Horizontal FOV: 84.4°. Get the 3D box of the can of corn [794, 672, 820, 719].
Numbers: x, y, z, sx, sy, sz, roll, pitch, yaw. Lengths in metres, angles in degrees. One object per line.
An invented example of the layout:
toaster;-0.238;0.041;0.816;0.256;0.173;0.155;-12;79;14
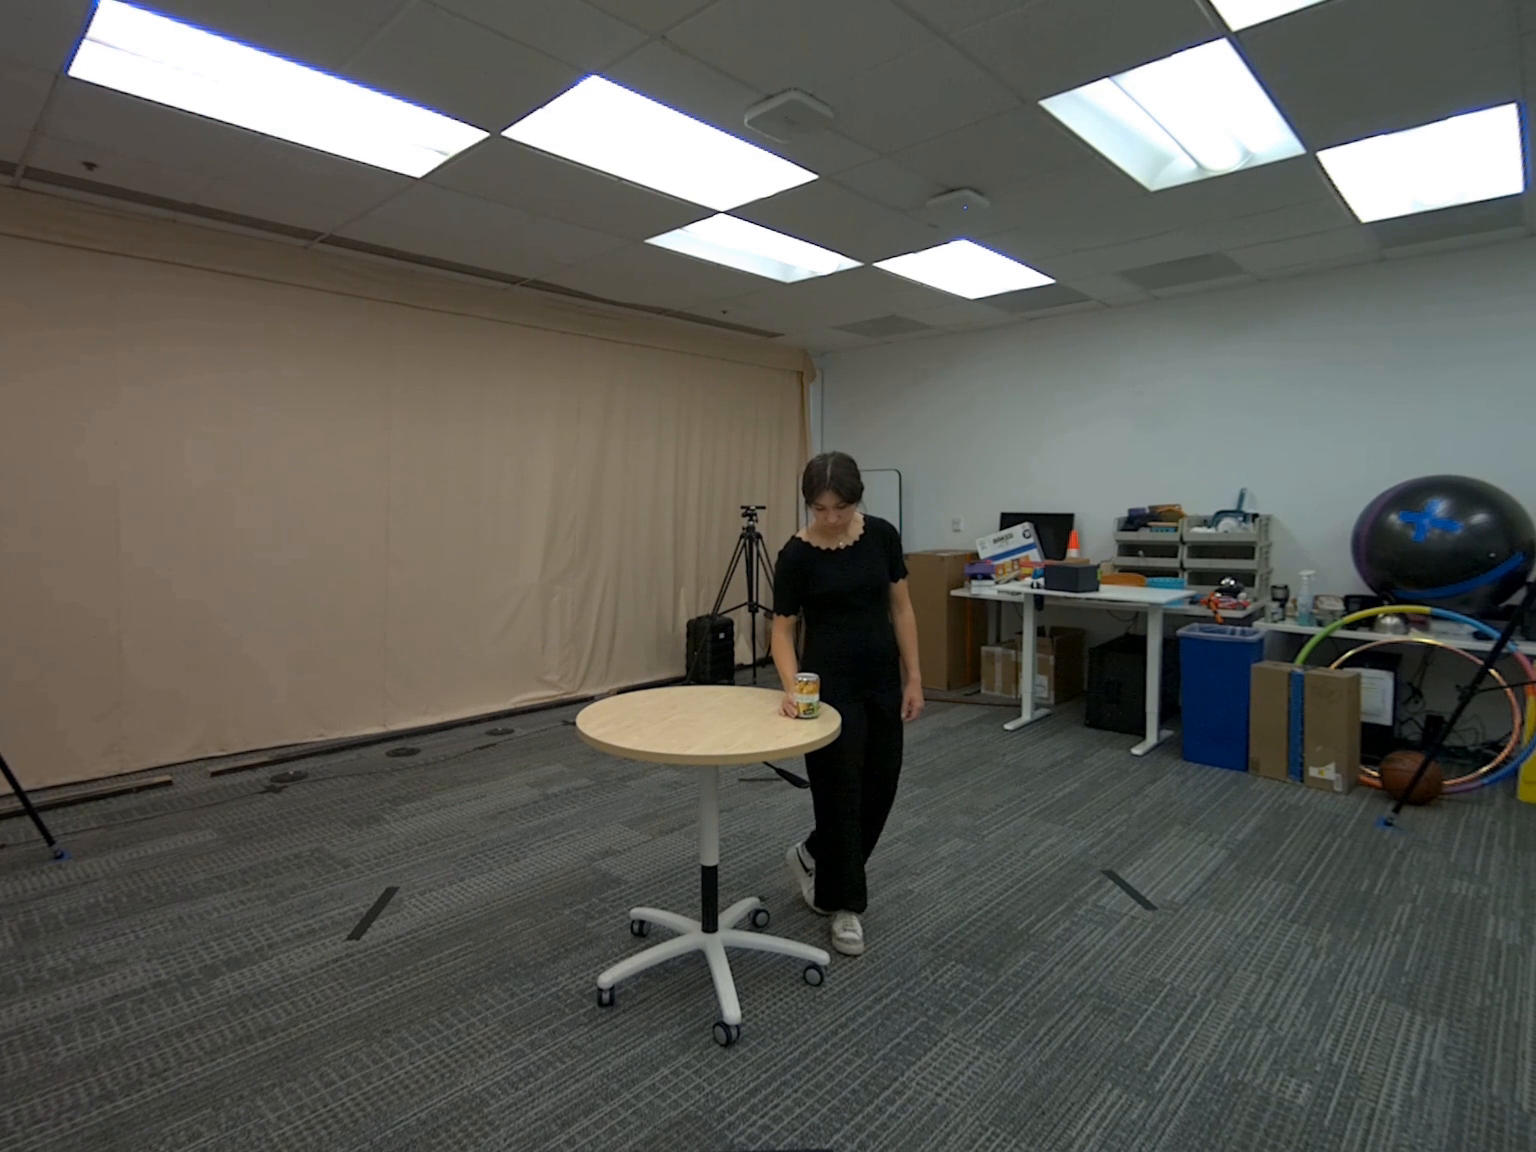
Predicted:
can of corn;0.109;0.344;2.434;0.074;0.111;0.074;0;3;-2
